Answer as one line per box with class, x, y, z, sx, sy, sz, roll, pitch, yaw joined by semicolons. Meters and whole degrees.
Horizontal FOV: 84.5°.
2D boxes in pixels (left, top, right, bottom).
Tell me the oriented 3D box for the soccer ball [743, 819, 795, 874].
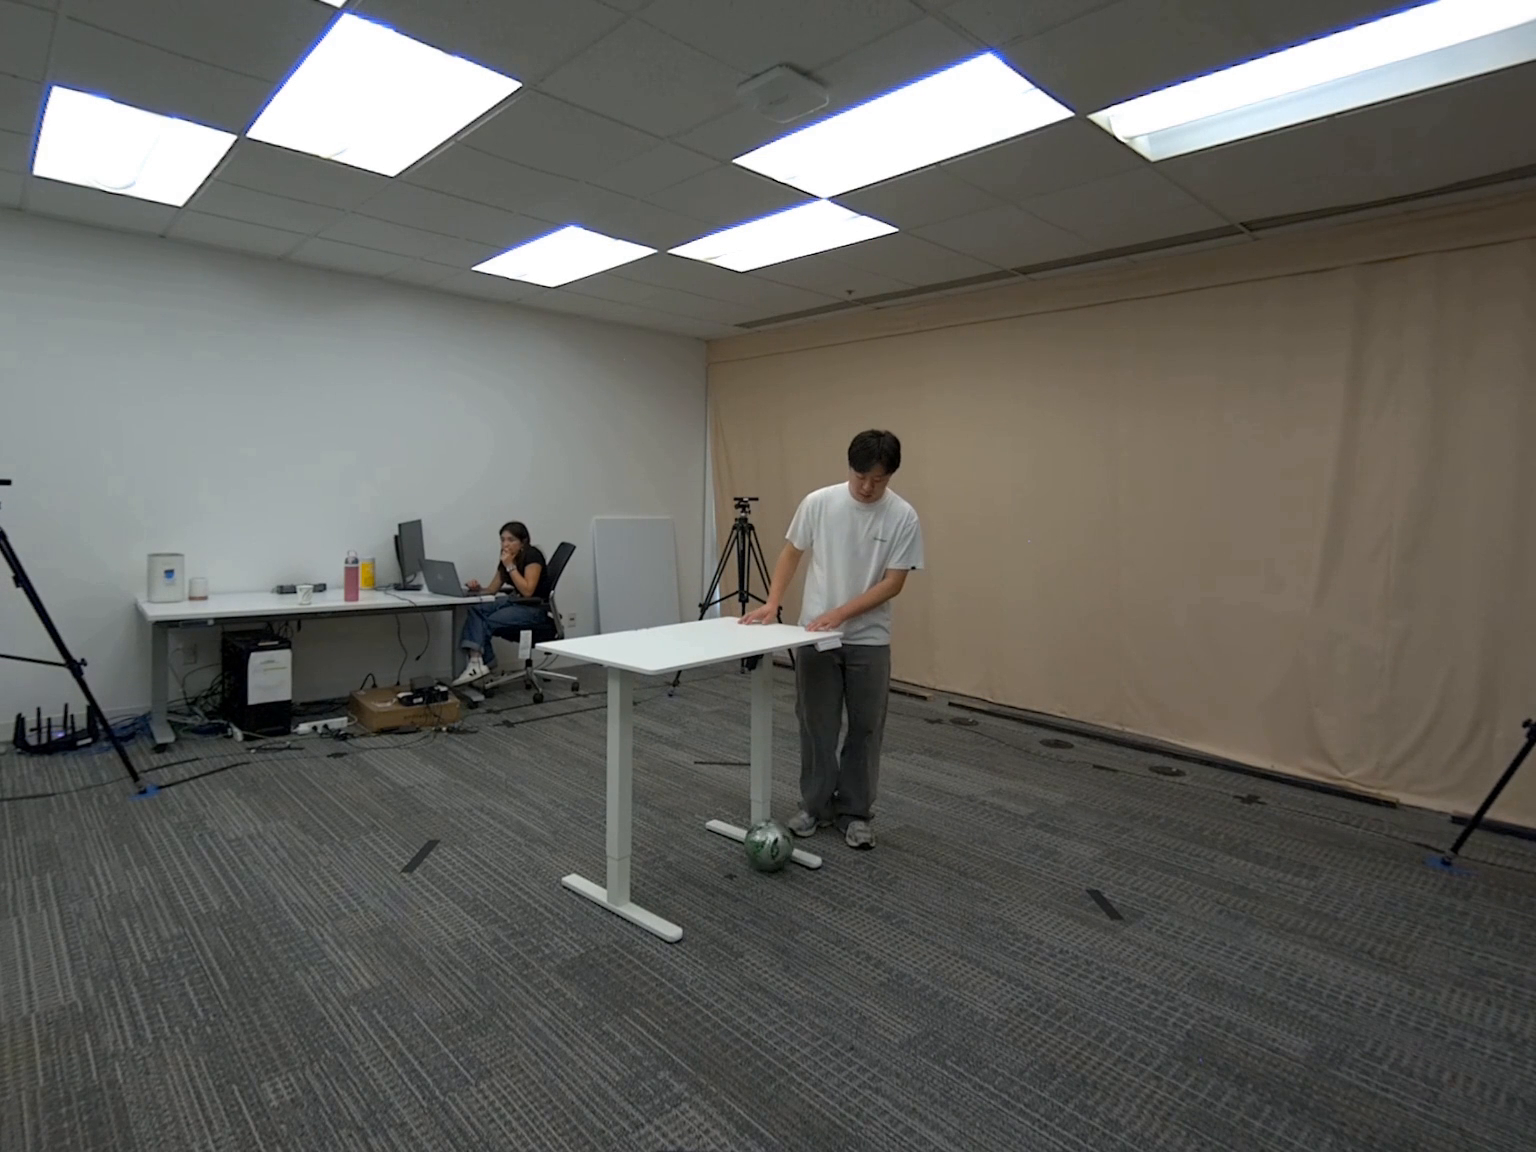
soccer ball;-0.009;1.016;3.161;0.187;0.187;0.188;1;4;-1
